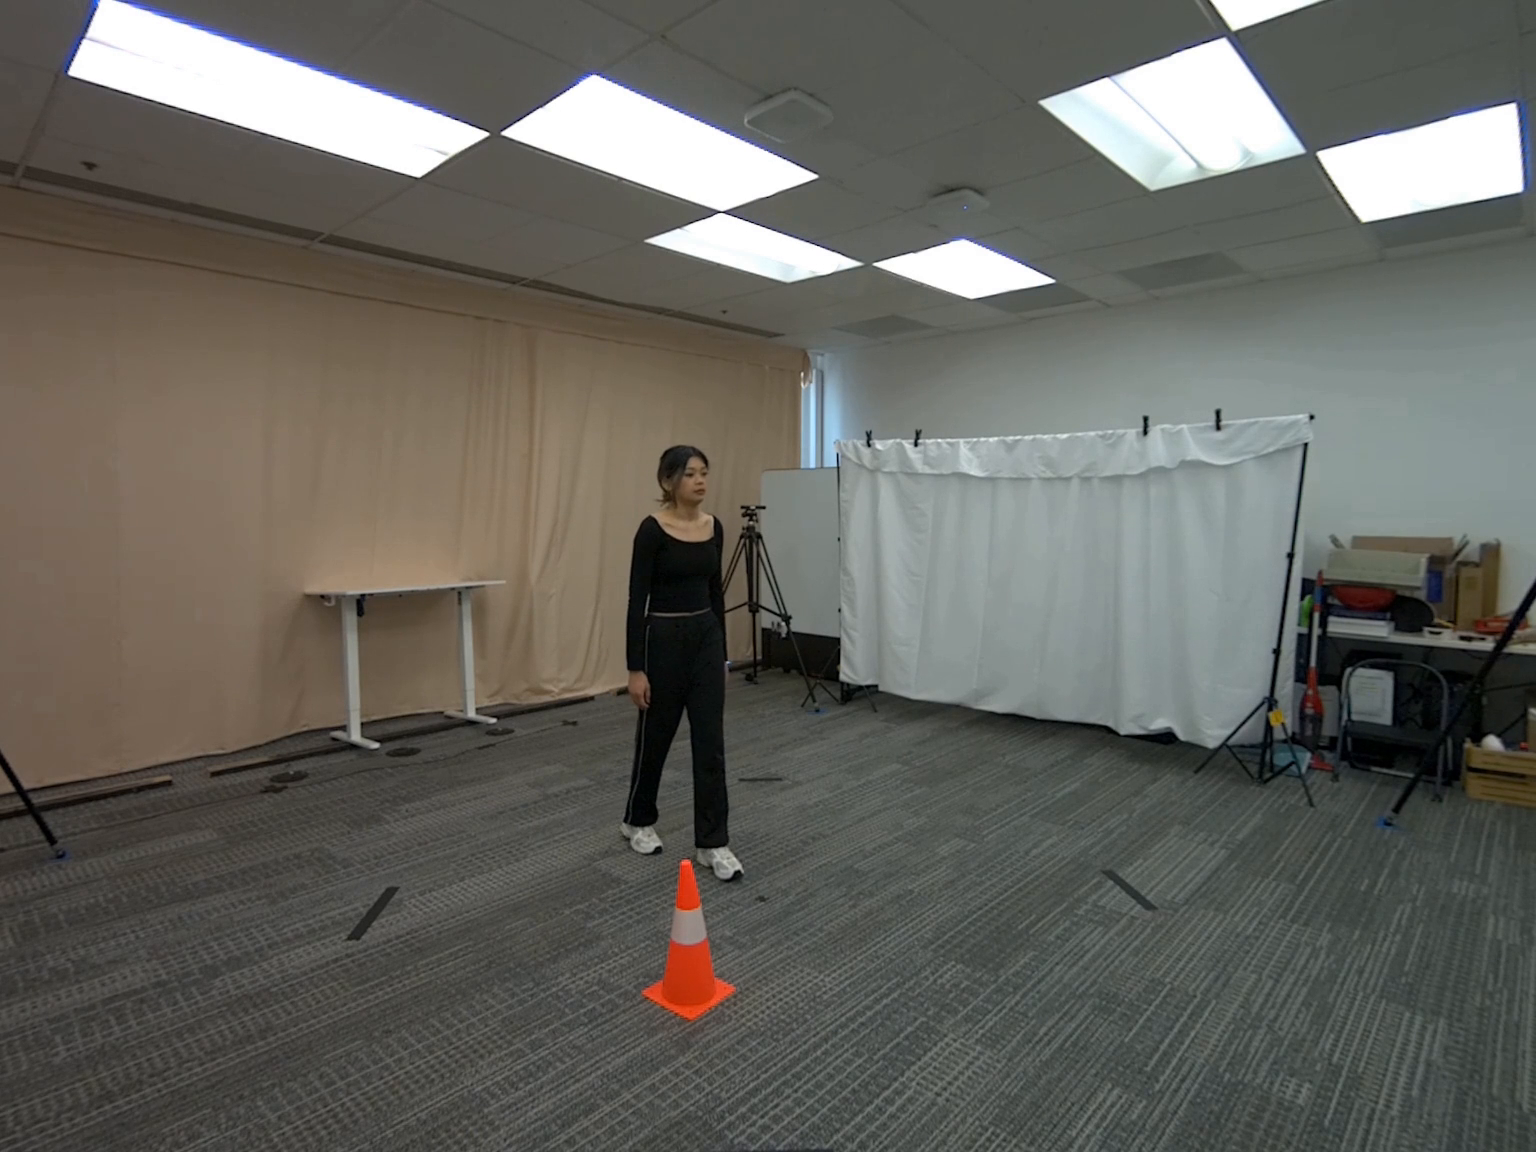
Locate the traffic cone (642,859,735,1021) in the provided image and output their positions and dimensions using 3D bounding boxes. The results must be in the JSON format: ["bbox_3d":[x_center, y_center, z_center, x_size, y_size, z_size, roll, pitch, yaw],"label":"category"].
[{"bbox_3d":[-0.225,1.007,2.404,0.211,0.383,0.197,1,4,39],"label":"traffic cone"}]
